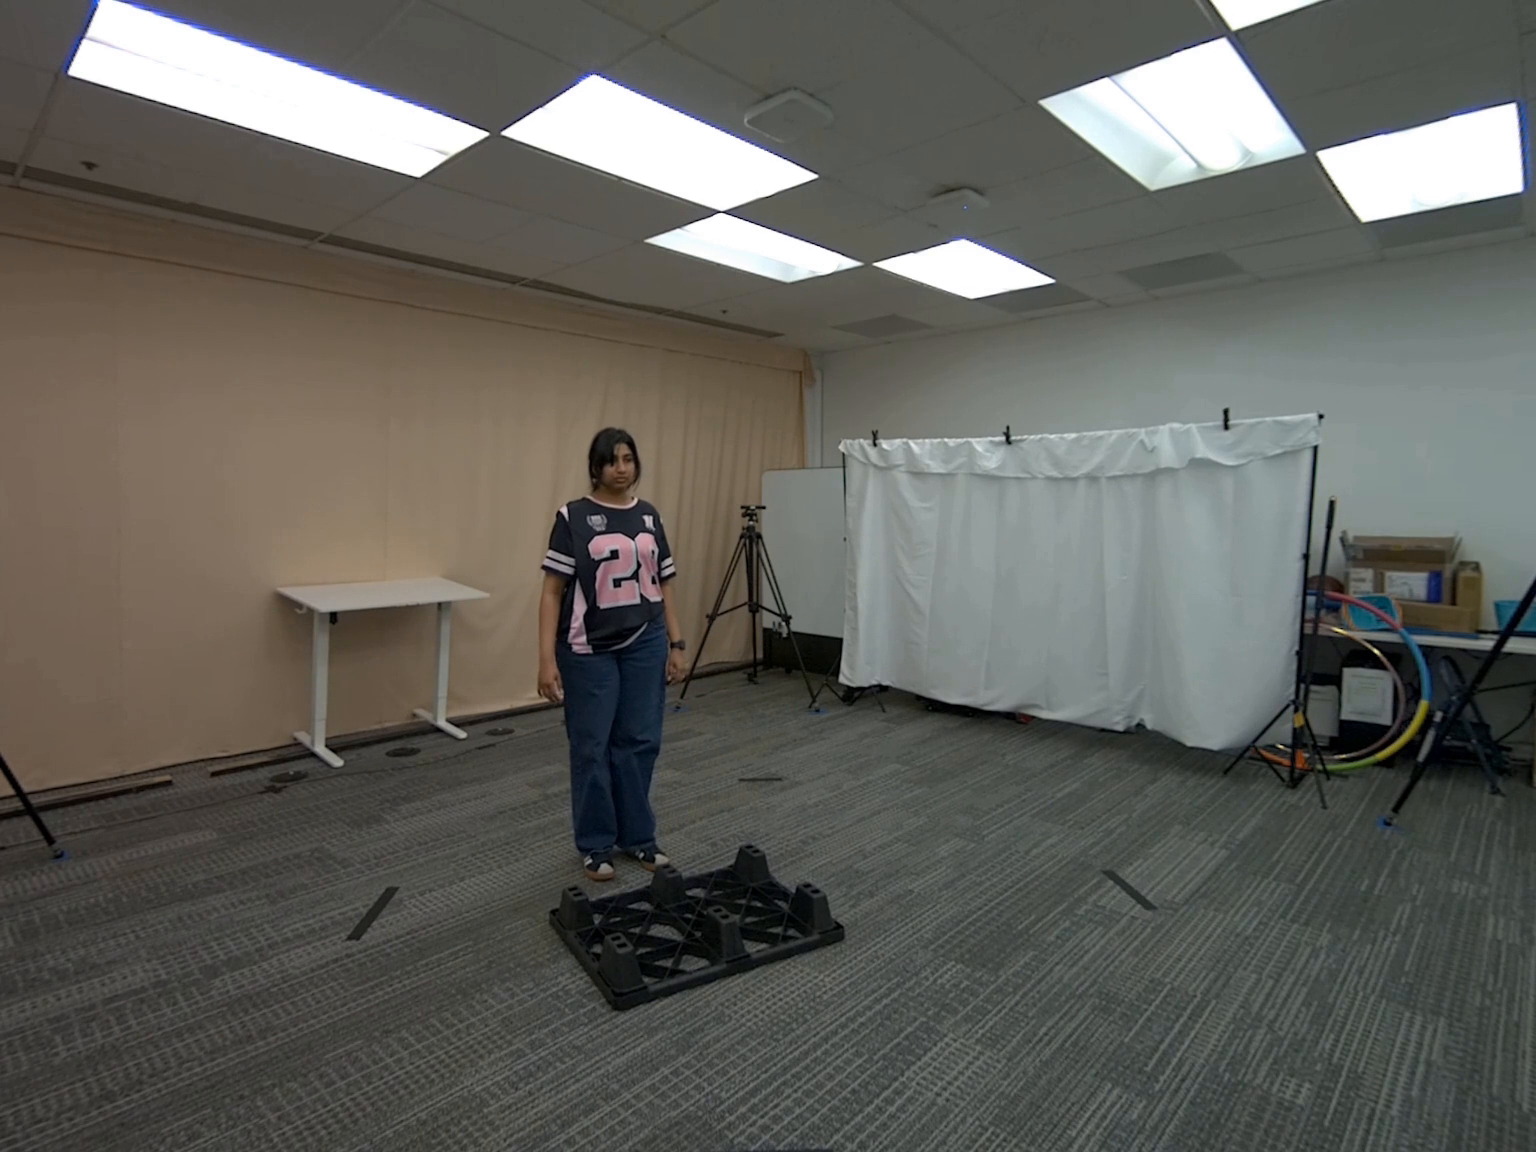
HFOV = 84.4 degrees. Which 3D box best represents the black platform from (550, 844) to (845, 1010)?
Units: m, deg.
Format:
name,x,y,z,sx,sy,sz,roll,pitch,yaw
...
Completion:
name,x,y,z,sx,sy,sz,roll,pitch,yaw
black platform,-0.238,1.097,2.767,0.784,0.143,0.623,-3,6,-31
